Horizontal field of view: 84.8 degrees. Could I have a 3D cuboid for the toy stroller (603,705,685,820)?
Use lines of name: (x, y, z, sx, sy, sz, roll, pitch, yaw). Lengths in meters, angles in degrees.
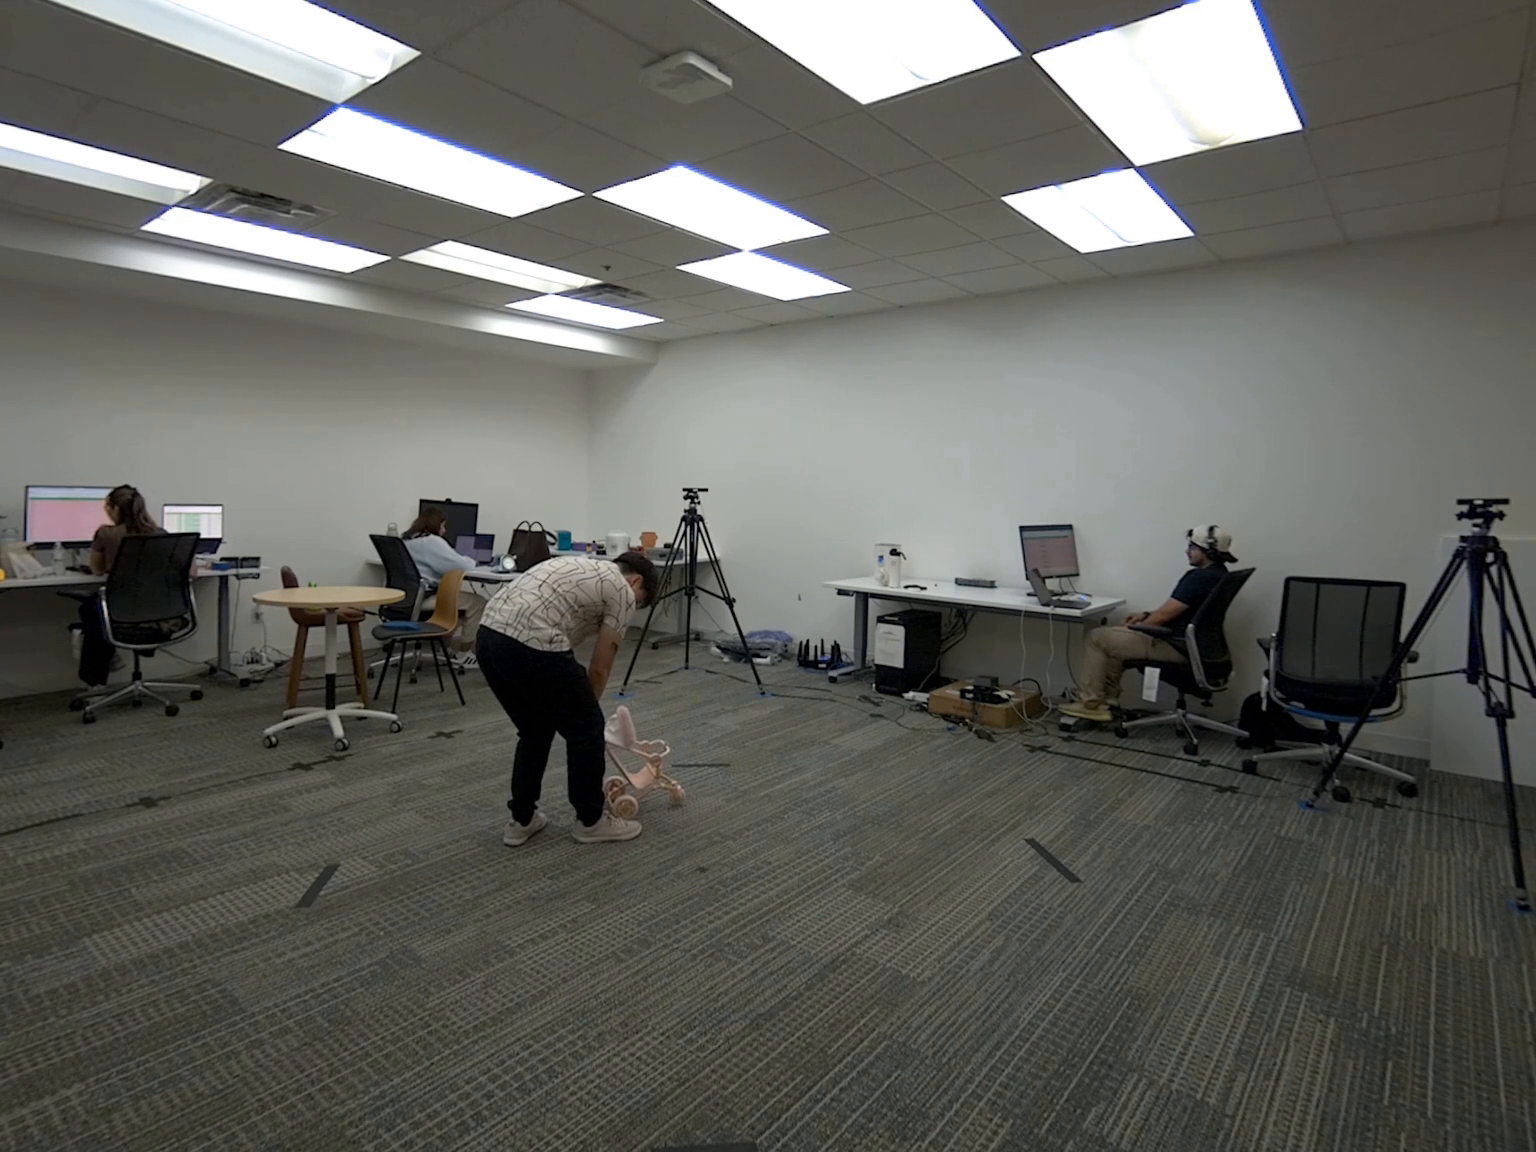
toy stroller: (-0.598, 0.791, 3.669, 0.339, 0.529, 0.286, -21, 9, -11)
